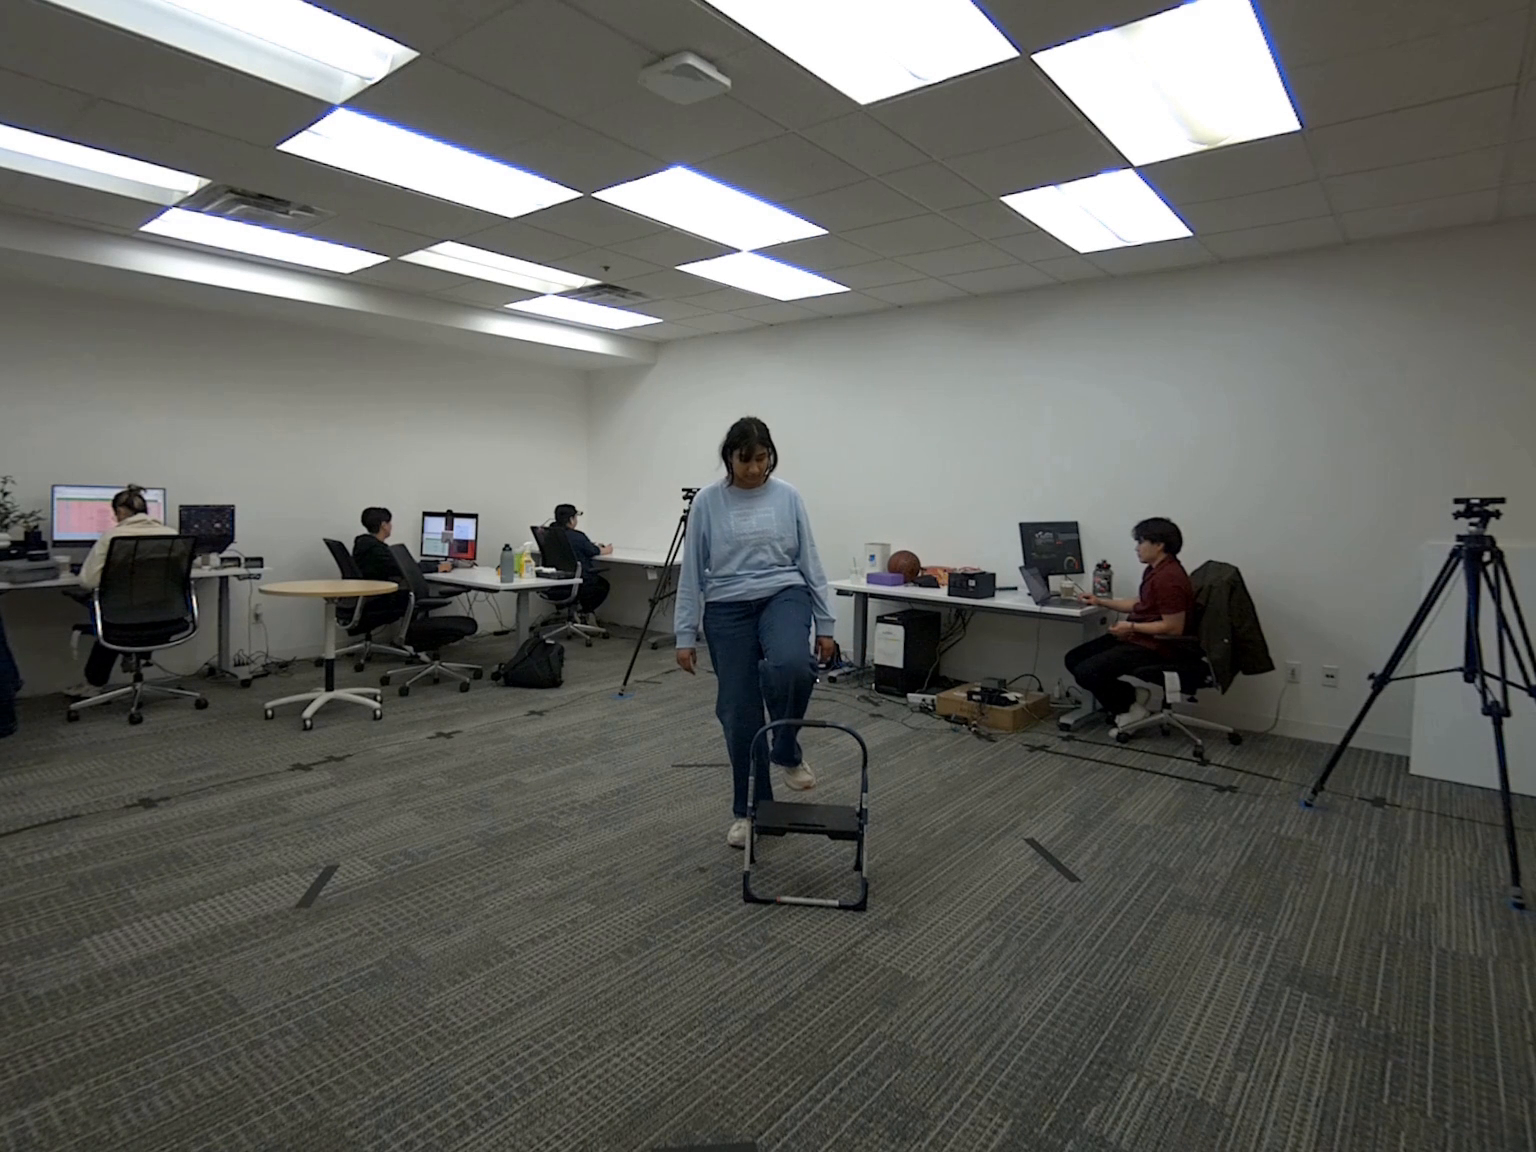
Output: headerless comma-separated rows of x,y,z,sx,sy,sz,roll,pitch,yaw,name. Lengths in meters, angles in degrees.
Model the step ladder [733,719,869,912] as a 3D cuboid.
0.132,0.786,2.994,0.433,0.605,0.348,1,3,4,step ladder
